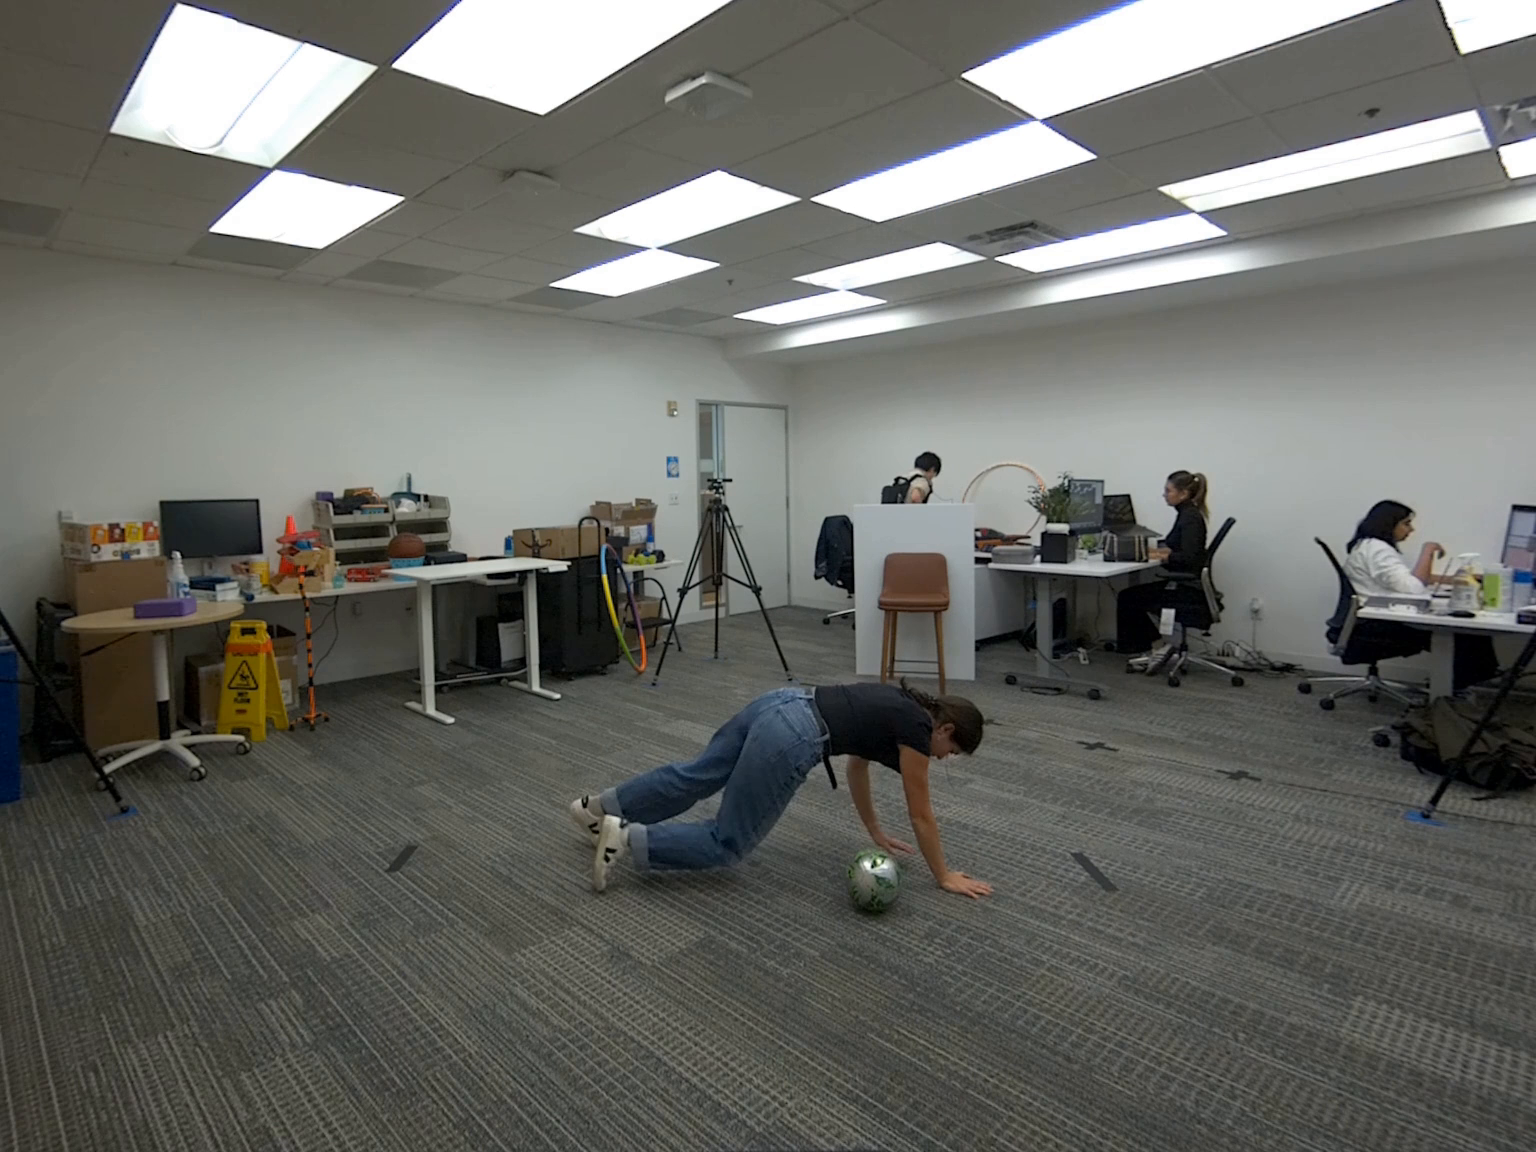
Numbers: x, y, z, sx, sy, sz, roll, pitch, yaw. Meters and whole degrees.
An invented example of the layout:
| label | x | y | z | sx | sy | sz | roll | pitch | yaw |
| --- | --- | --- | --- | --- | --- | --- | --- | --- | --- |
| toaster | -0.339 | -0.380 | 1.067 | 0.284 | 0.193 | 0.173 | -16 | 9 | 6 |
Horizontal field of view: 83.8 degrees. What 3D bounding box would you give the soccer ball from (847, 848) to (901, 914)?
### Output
| label | x | y | z | sx | sy | sz | roll | pitch | yaw |
| --- | --- | --- | --- | --- | --- | --- | --- | --- | --- |
| soccer ball | 0.344 | 0.984 | 2.766 | 0.187 | 0.187 | 0.188 | -1 | 5 | -2 |
